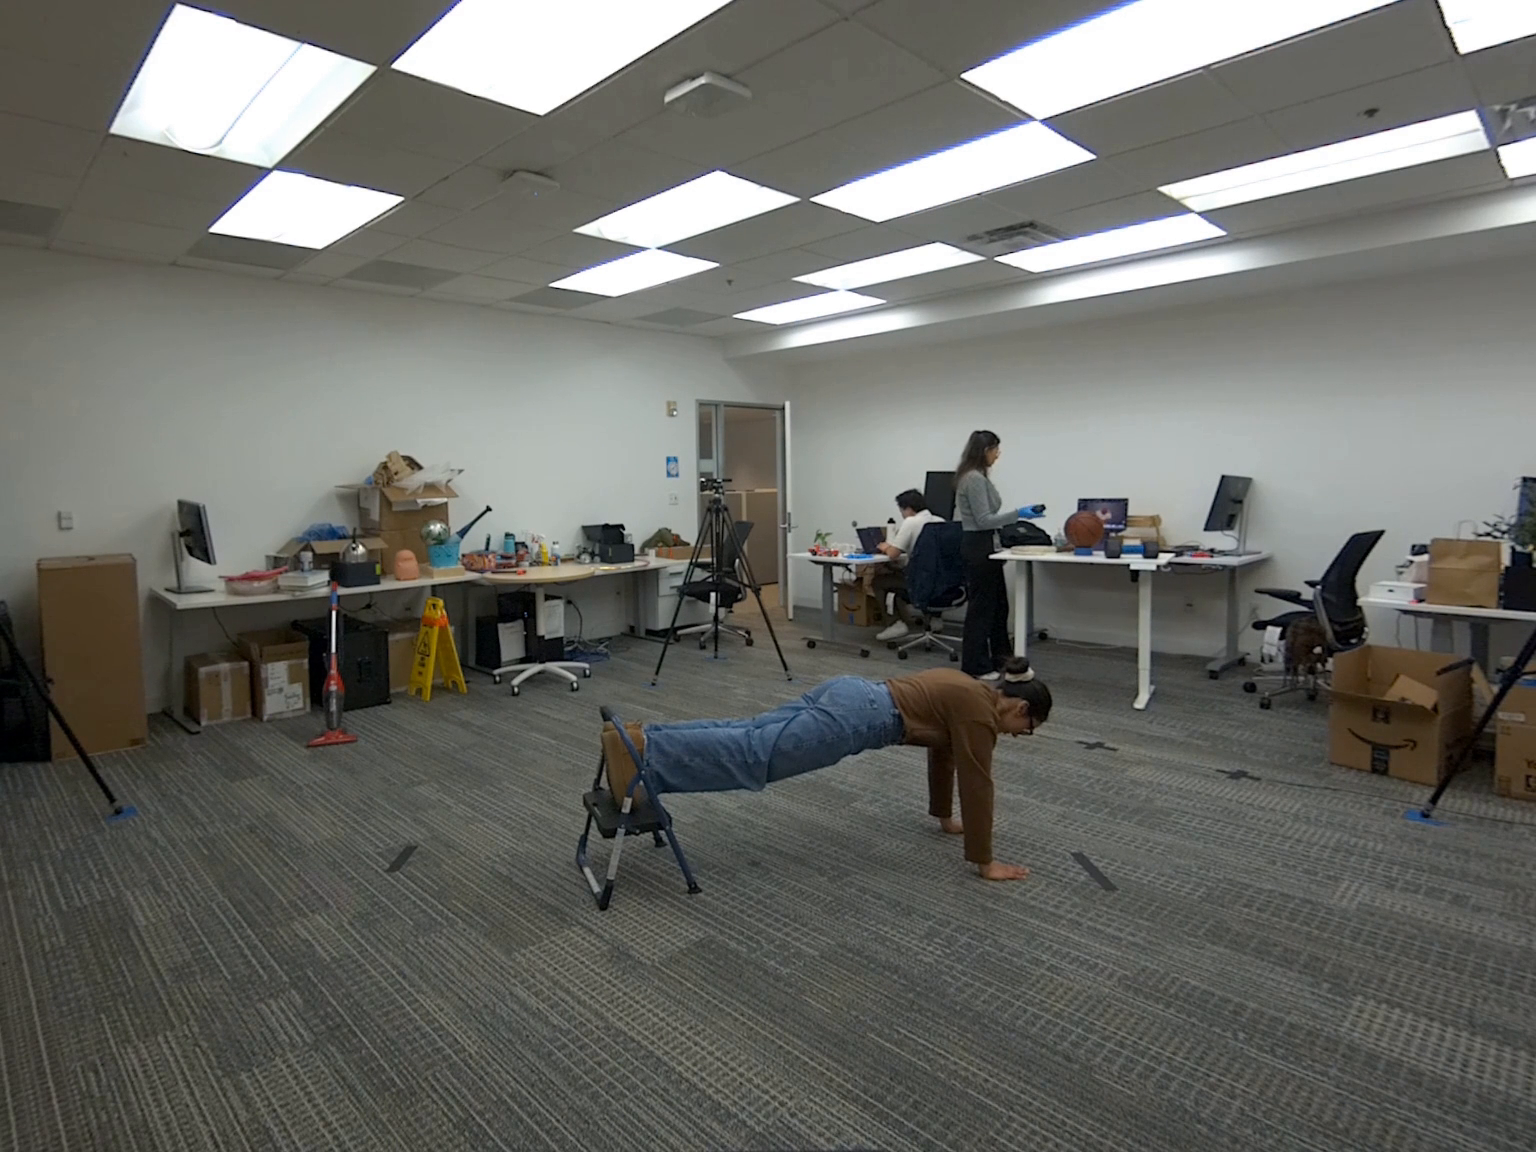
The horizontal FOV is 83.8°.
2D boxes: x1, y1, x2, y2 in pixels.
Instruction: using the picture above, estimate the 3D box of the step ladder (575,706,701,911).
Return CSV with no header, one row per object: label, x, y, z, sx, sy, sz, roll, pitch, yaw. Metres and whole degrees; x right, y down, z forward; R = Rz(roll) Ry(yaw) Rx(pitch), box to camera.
step ladder,-0.474,0.763,3.009,0.342,0.604,0.441,-3,5,-24
